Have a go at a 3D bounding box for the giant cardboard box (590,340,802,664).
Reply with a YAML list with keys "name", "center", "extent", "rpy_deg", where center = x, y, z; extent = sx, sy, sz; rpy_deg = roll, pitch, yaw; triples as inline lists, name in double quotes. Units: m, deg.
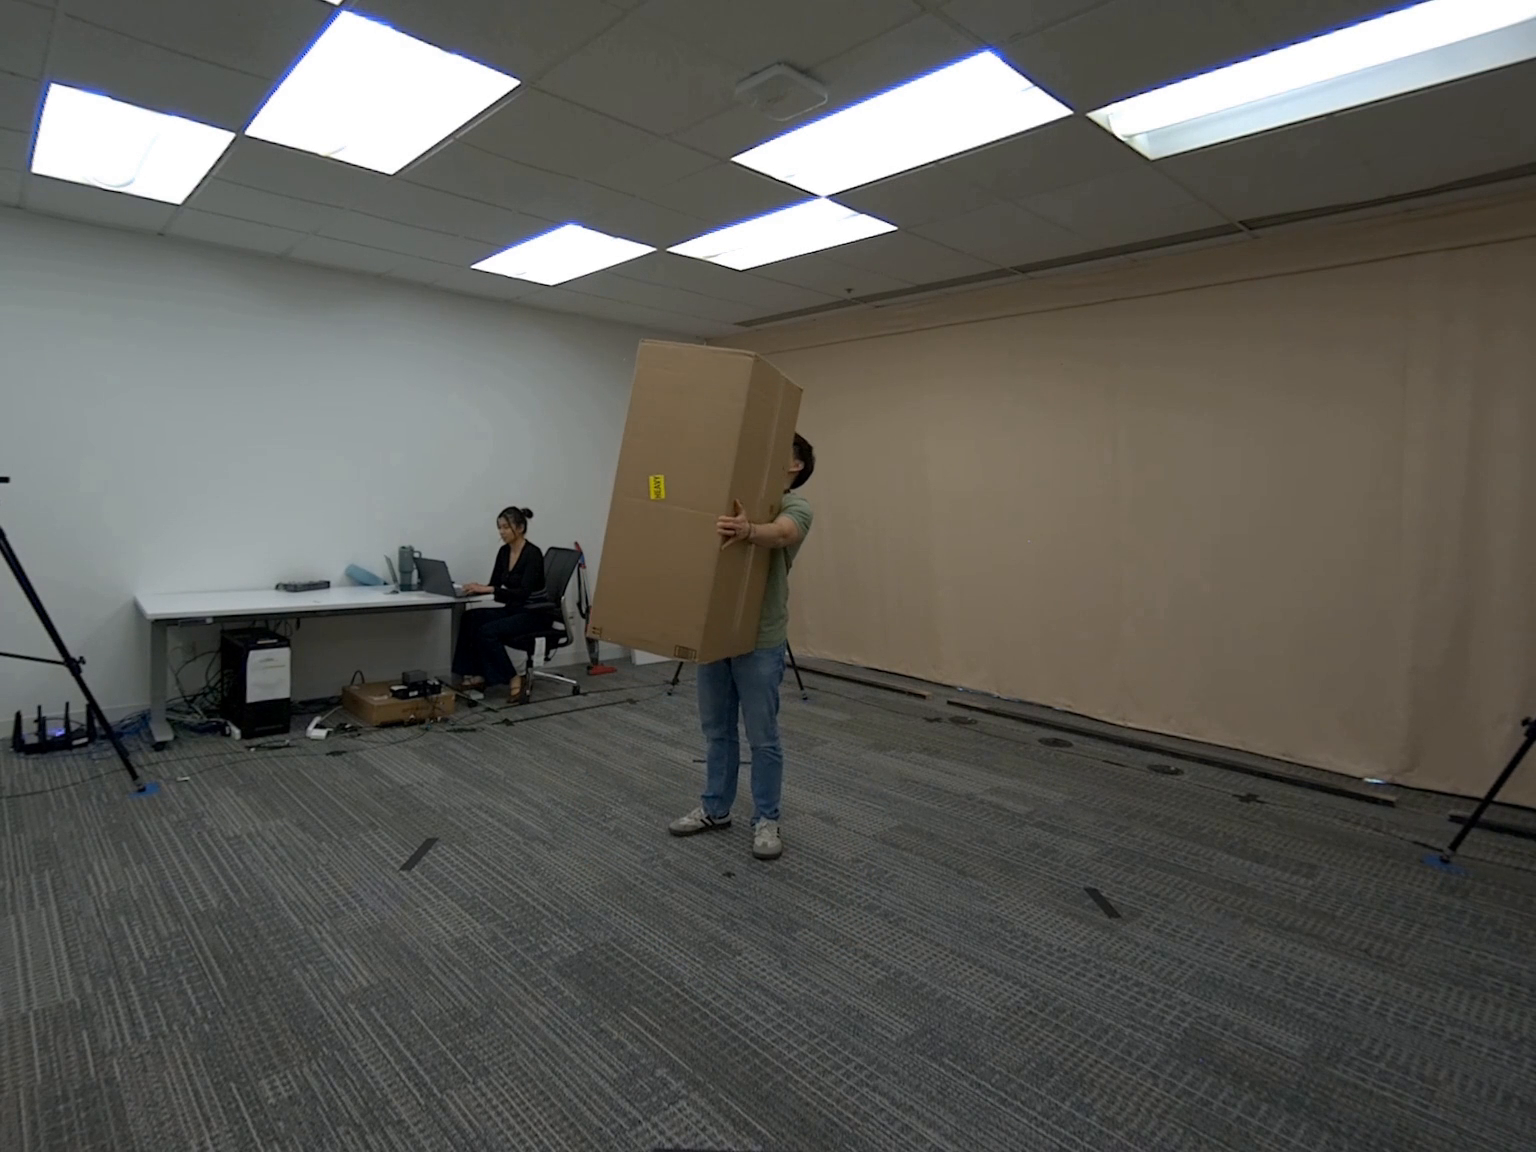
- name: "giant cardboard box"
  center: [-0.250, -0.251, 3.034]
  extent: [0.433, 1.024, 0.568]
  rpy_deg: [11, 2, 18]
